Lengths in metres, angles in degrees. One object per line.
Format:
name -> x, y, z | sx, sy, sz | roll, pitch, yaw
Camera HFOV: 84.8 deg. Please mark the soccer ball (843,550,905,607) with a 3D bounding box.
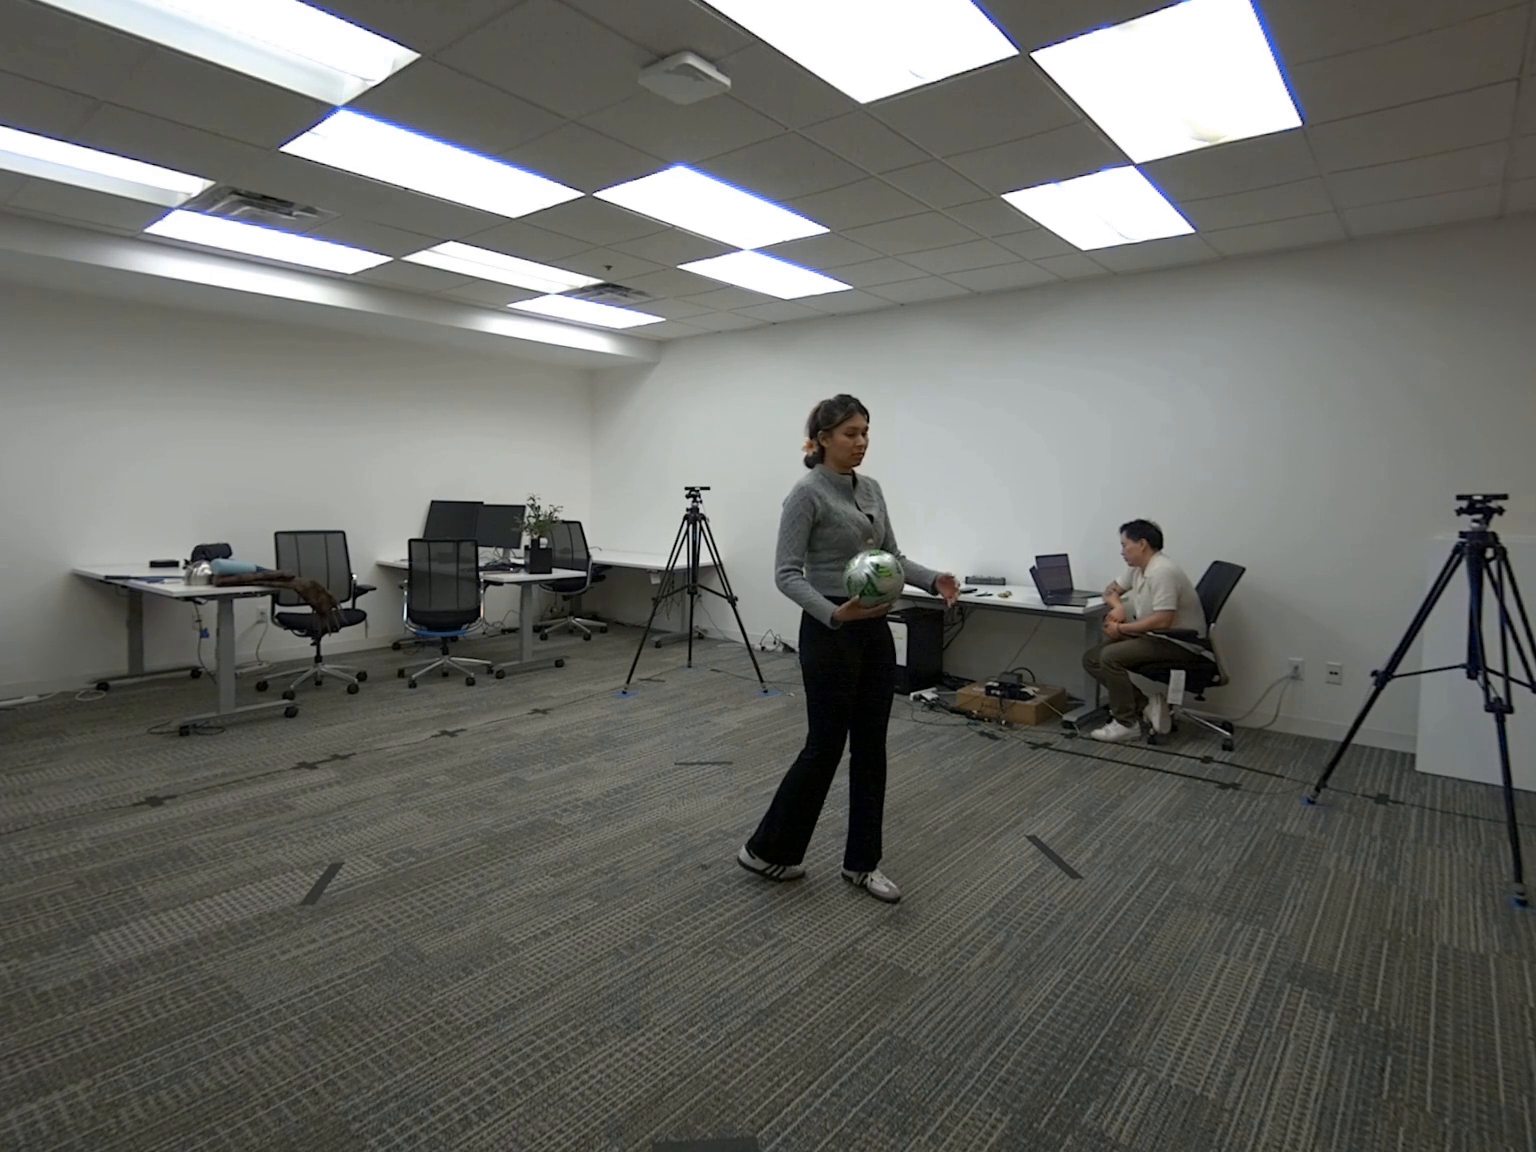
soccer ball -> 0.318, 0.008, 2.636 | 0.187, 0.187, 0.188 | 0, 4, -2
